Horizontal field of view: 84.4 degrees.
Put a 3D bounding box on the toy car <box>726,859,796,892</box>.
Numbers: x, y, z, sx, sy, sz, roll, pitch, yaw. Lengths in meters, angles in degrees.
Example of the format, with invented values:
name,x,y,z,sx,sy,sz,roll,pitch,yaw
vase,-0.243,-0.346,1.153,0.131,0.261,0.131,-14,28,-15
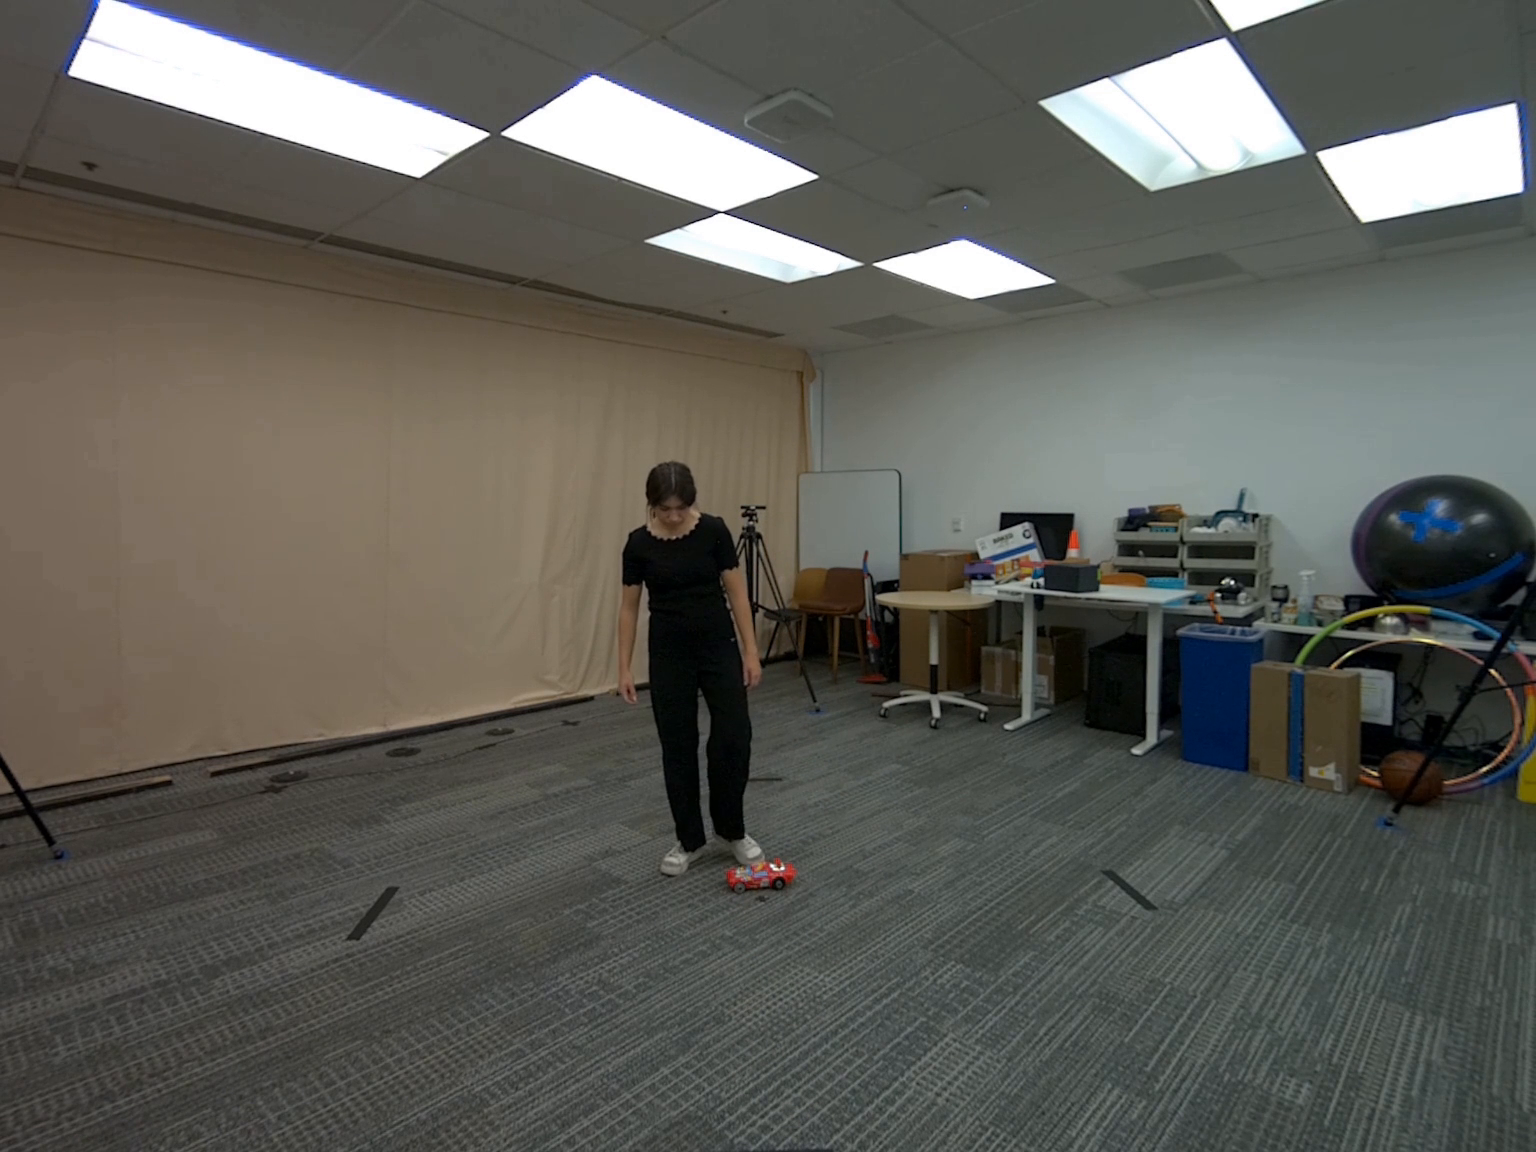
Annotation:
name,x,y,z,sx,sy,sz,roll,pitch,yaw
toy car,-0.019,1.103,3.089,0.252,0.083,0.132,-13,7,-9
